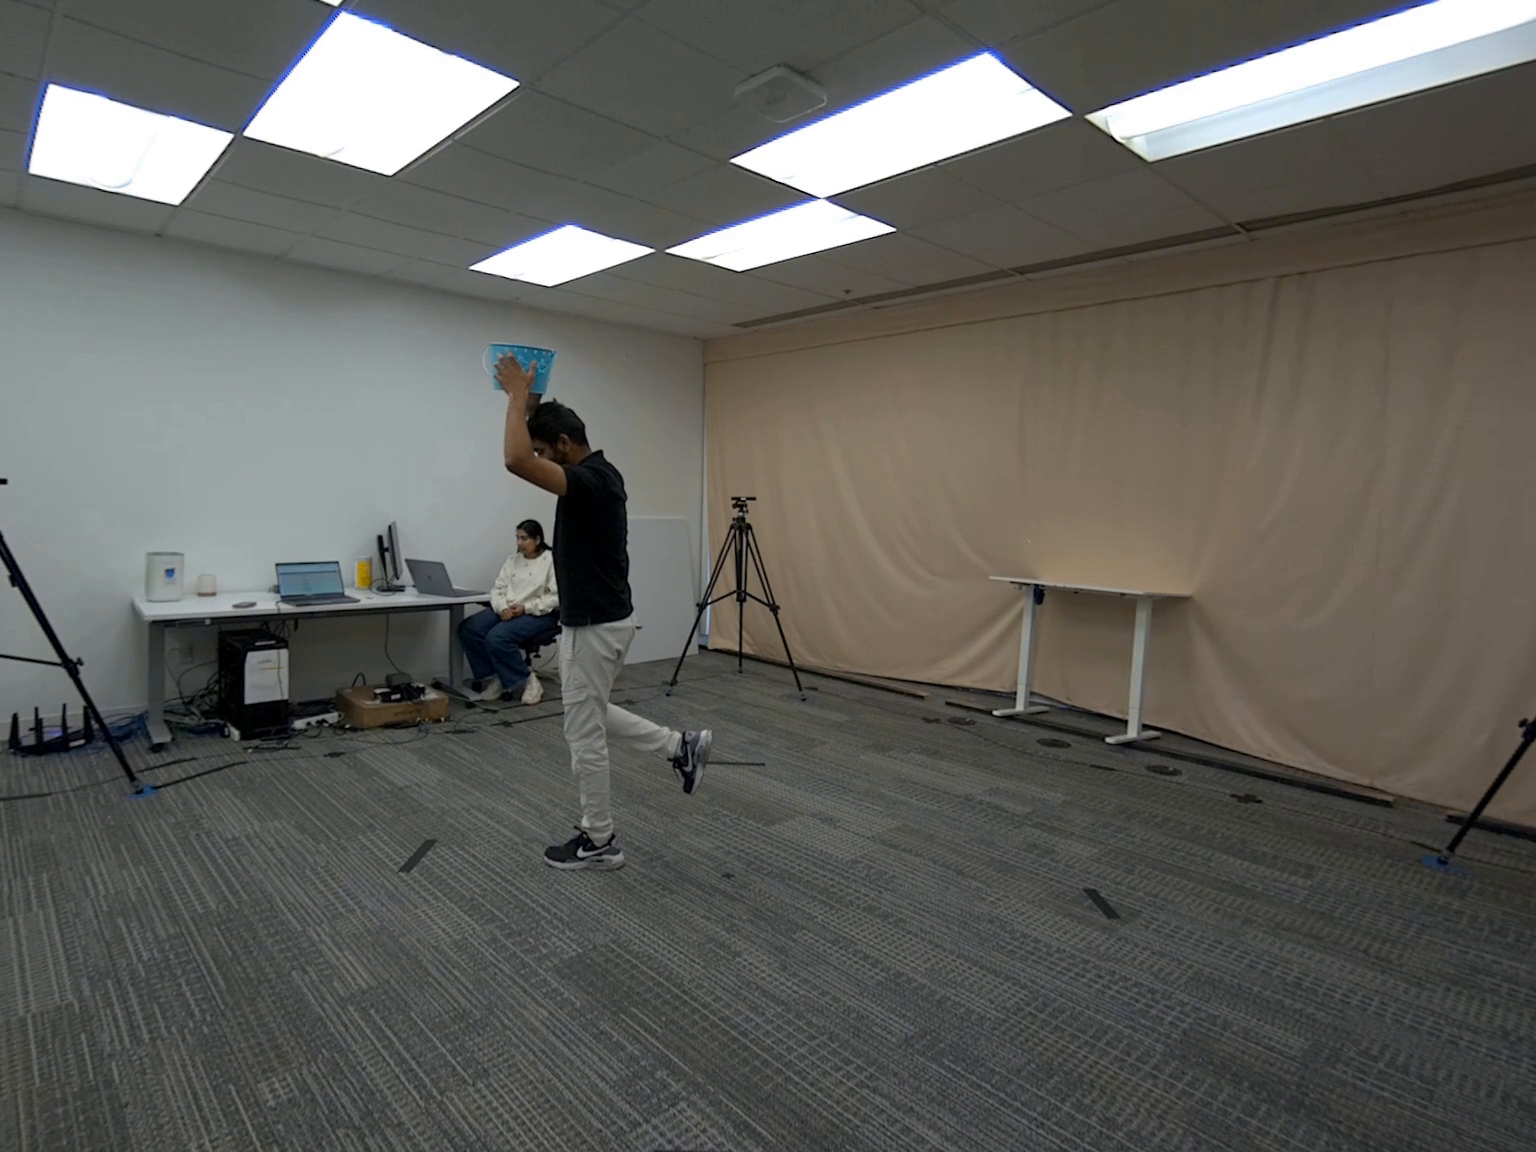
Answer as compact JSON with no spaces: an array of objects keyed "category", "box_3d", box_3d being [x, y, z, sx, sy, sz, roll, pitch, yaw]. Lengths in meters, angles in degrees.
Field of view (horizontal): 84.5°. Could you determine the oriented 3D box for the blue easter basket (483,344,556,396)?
[{"category":"blue easter basket","box_3d":[-0.886,-0.723,2.947,0.243,0.155,0.245,3,10,-2]}]
